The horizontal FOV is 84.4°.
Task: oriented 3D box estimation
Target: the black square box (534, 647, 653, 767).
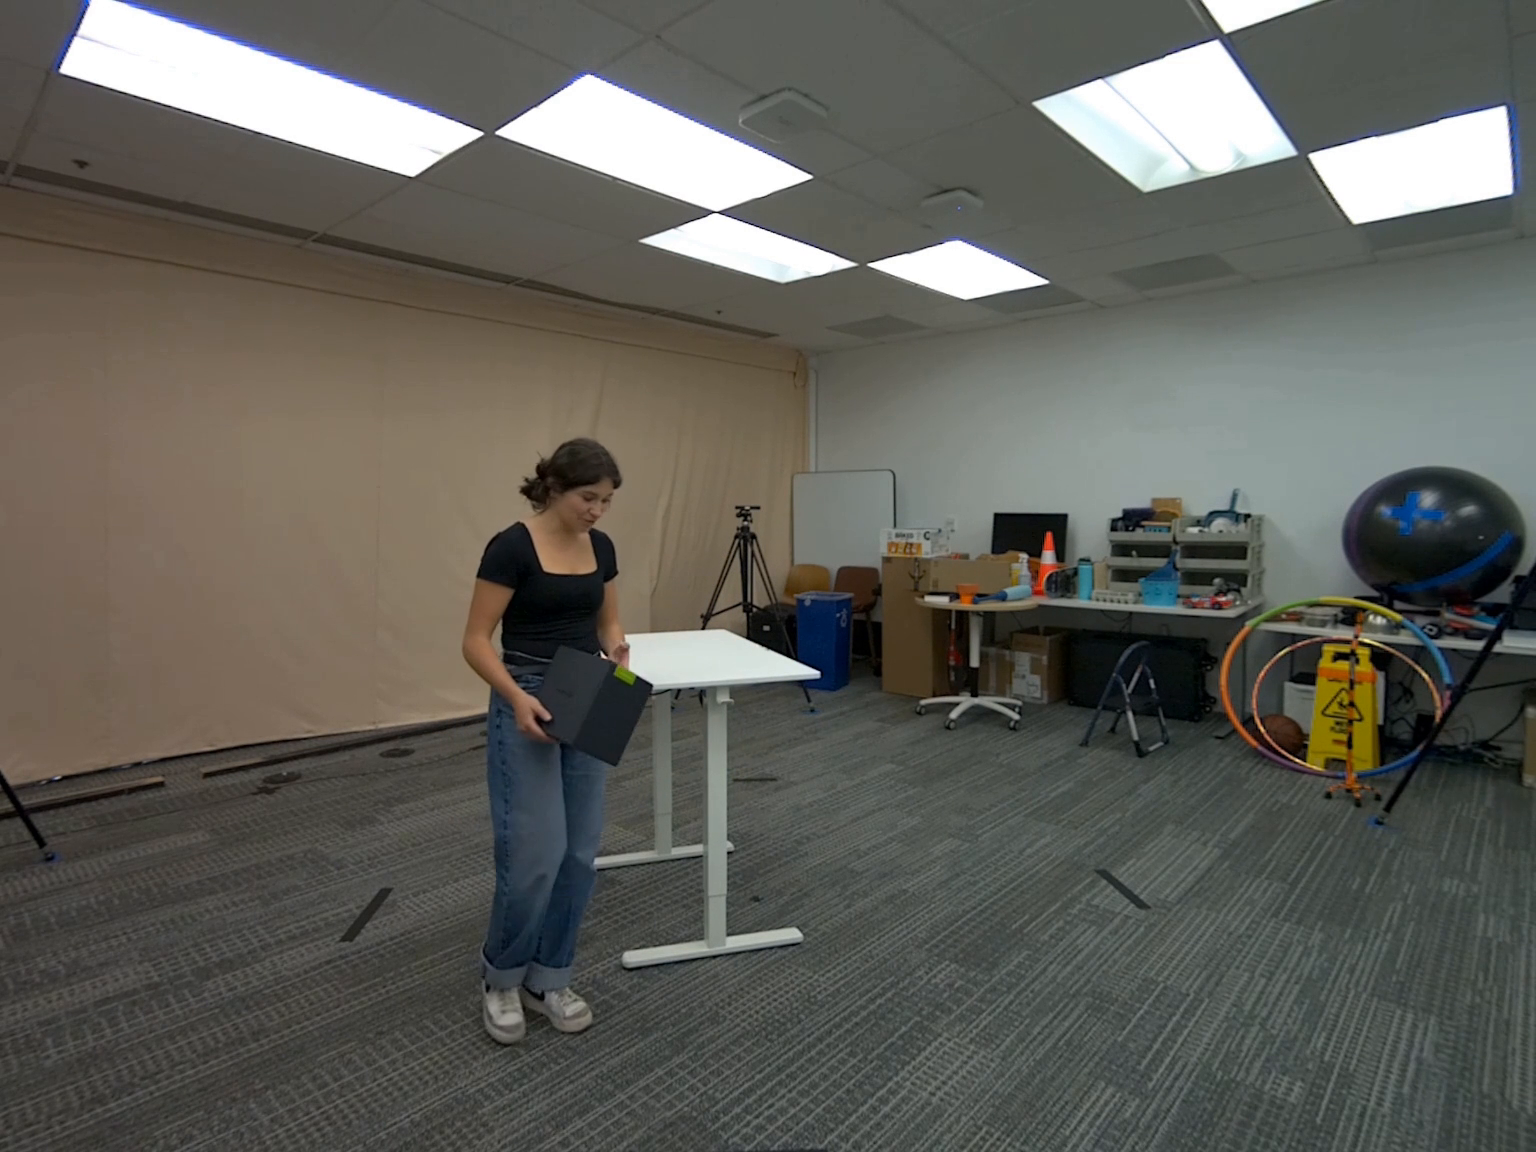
[{"bbox_3d":[-0.438,0.314,2.069,0.236,0.217,0.150,7,-24,45],"label":"black square box"}]
